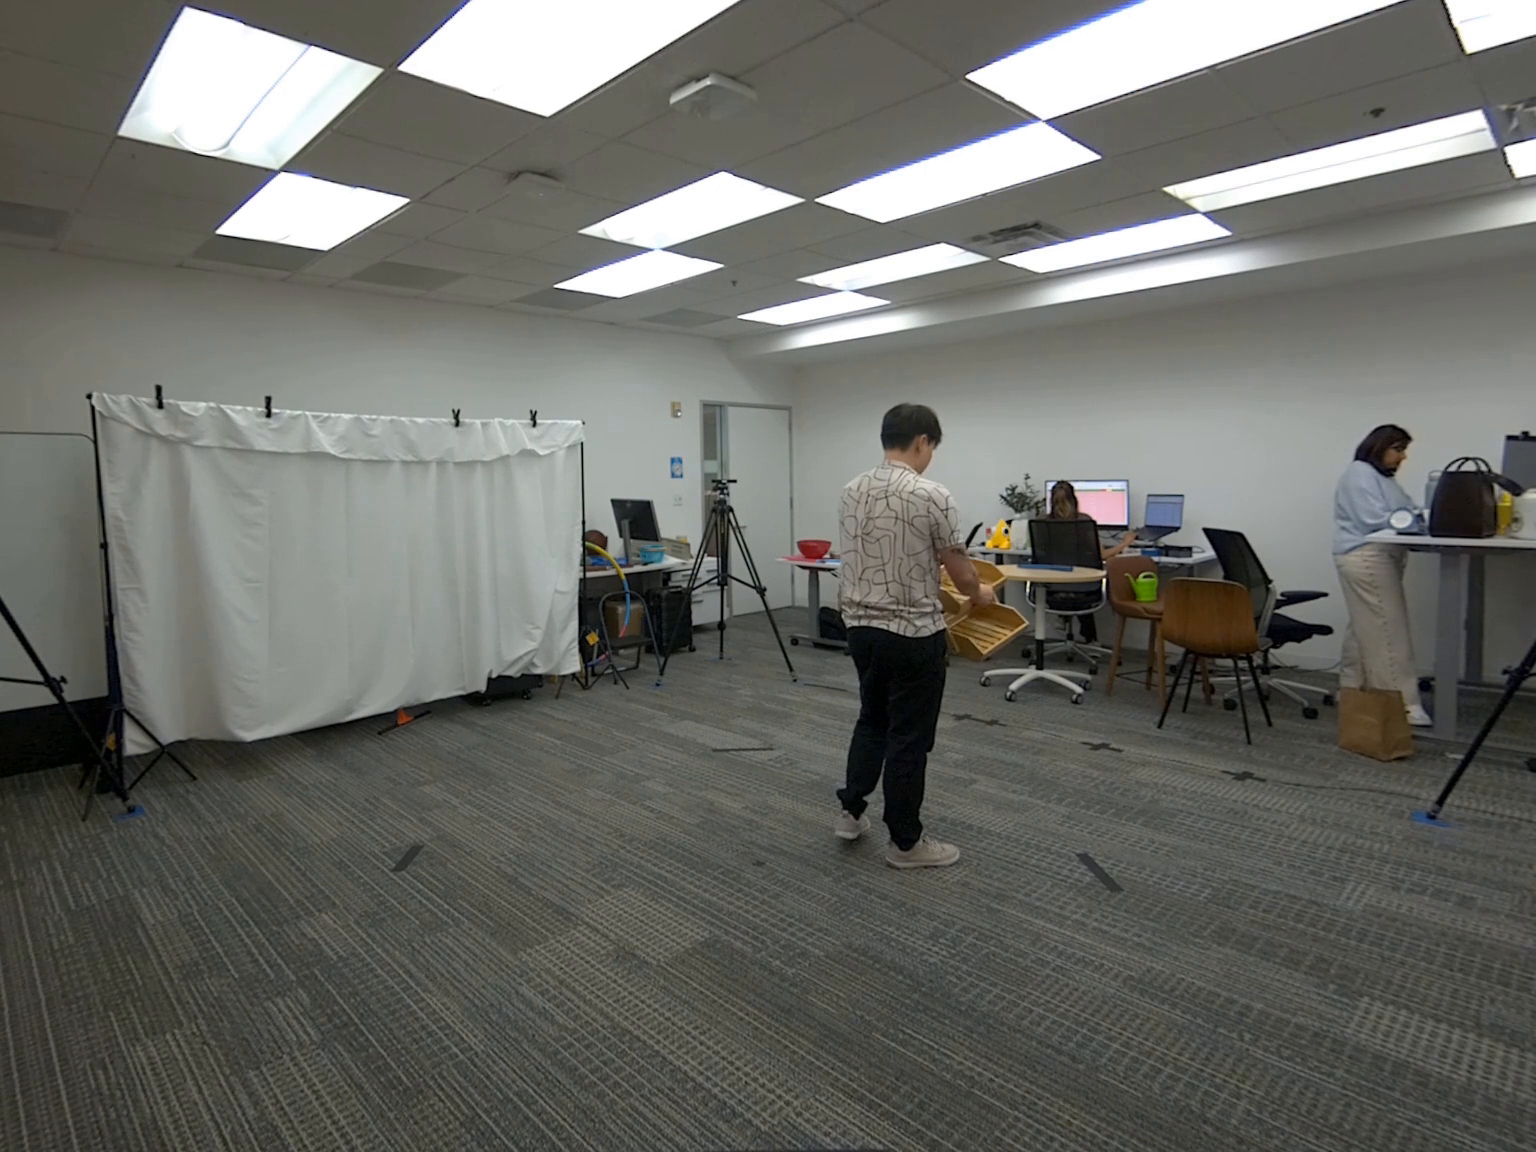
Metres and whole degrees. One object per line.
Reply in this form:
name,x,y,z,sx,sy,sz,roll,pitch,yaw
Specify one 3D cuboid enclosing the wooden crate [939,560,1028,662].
wooden crate,0.784,0.118,3.269,0.319,0.268,0.313,-24,27,-36
